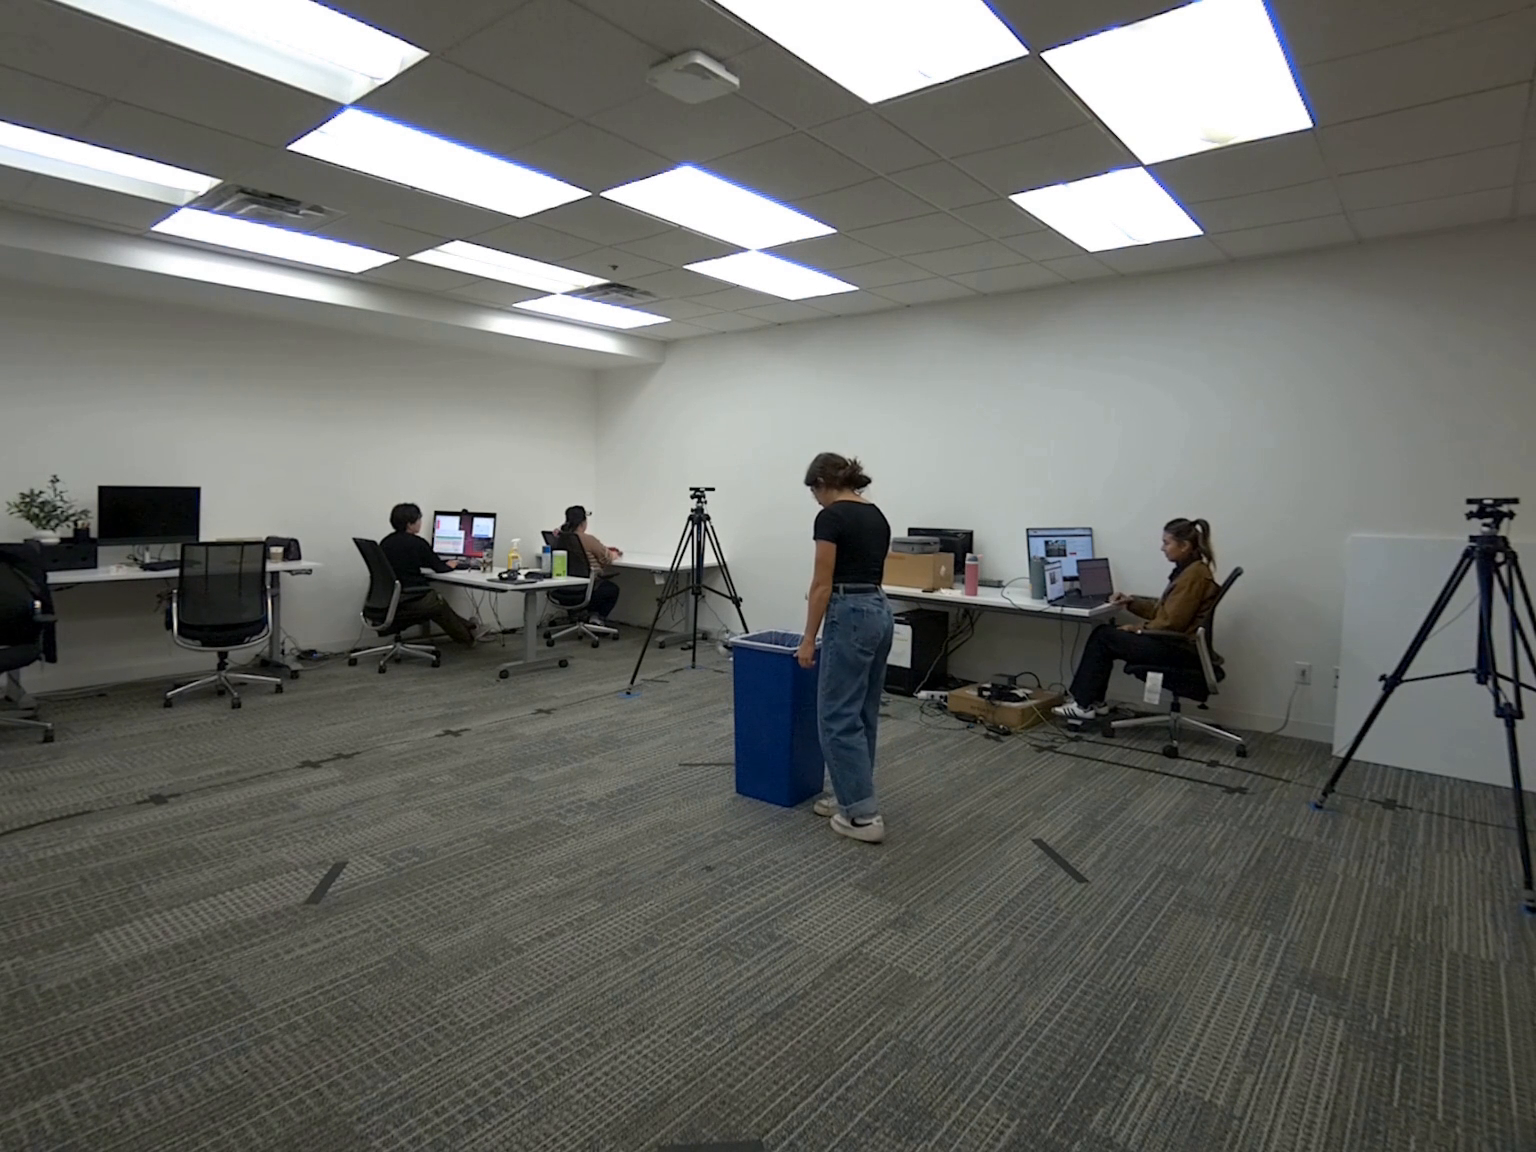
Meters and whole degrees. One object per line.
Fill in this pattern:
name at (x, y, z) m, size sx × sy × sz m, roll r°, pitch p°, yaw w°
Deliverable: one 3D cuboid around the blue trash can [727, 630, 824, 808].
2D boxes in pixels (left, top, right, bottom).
blue trash can at (0.050, 0.635, 3.902) m, size 0.390 × 0.712 × 0.363 m, roll 3°, pitch 4°, yaw 36°
